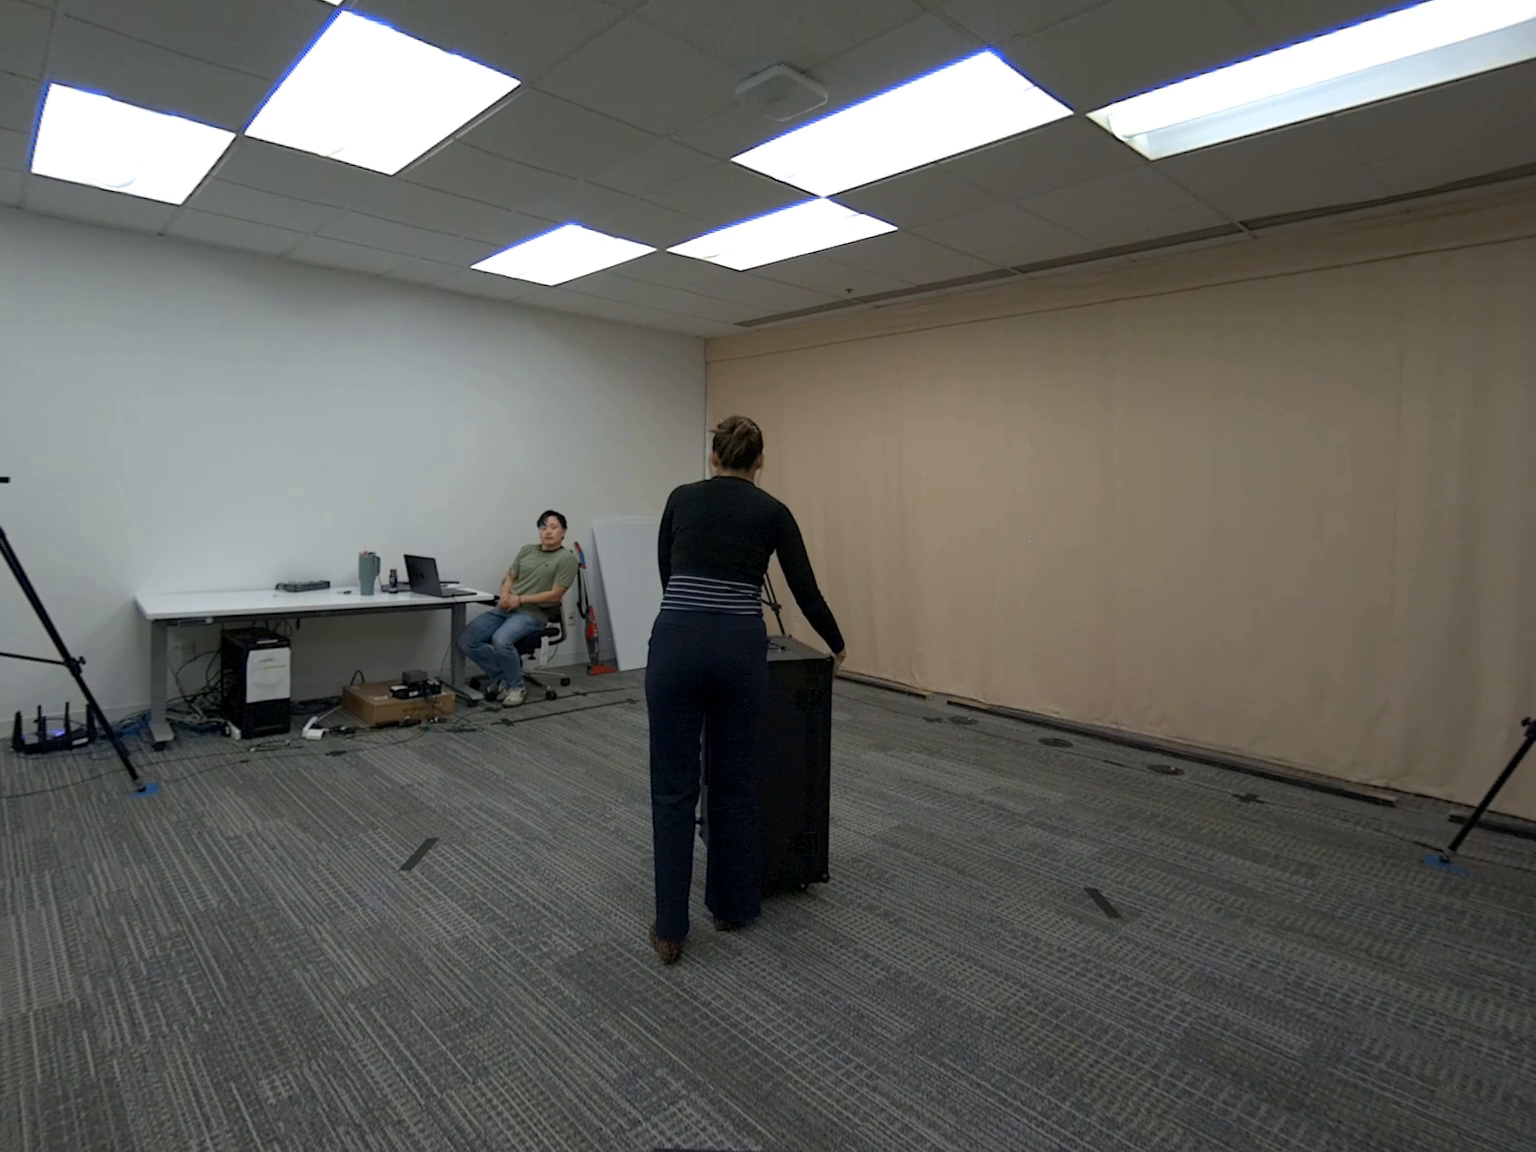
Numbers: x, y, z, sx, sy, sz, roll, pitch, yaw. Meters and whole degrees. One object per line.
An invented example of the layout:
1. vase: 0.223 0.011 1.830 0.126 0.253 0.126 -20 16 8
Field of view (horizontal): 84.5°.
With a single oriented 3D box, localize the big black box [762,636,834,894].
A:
1. big black box: -0.033 0.619 3.077 0.391 0.859 0.529 0 4 -16
